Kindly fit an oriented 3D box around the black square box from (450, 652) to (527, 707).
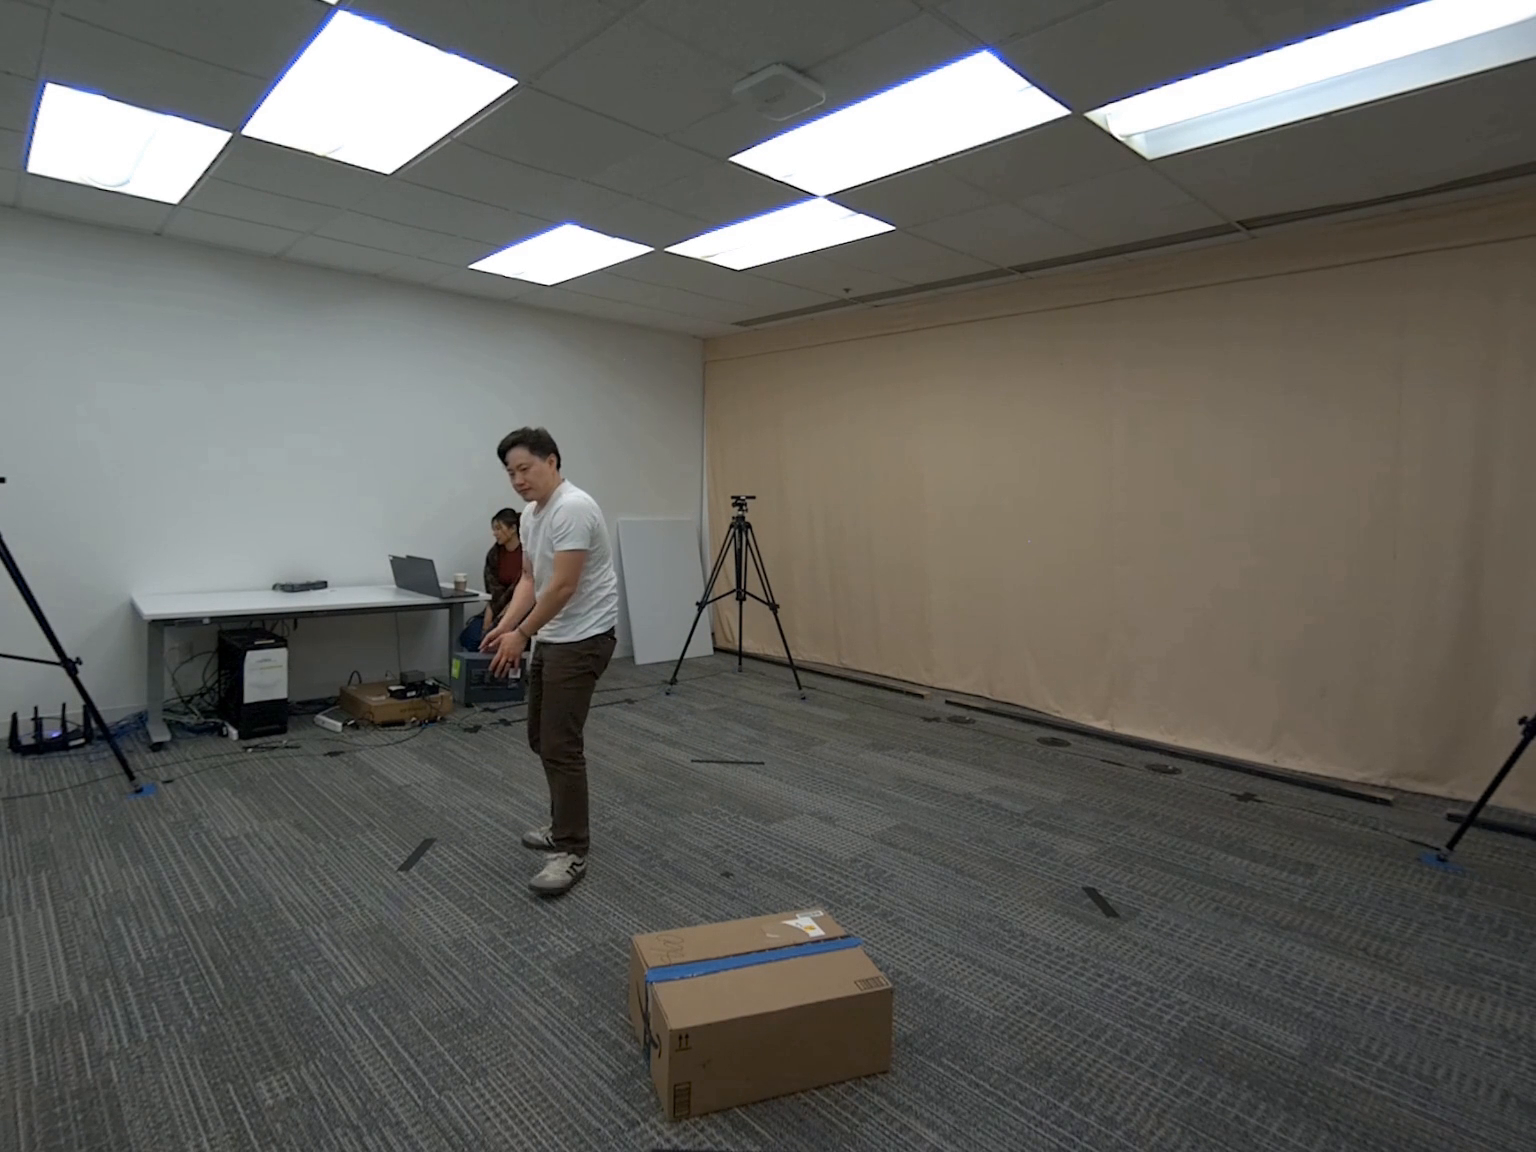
[{"bbox_3d":[-1.029,0.367,3.094,0.212,0.156,0.233,2,0,-32],"label":"black square box"}]
